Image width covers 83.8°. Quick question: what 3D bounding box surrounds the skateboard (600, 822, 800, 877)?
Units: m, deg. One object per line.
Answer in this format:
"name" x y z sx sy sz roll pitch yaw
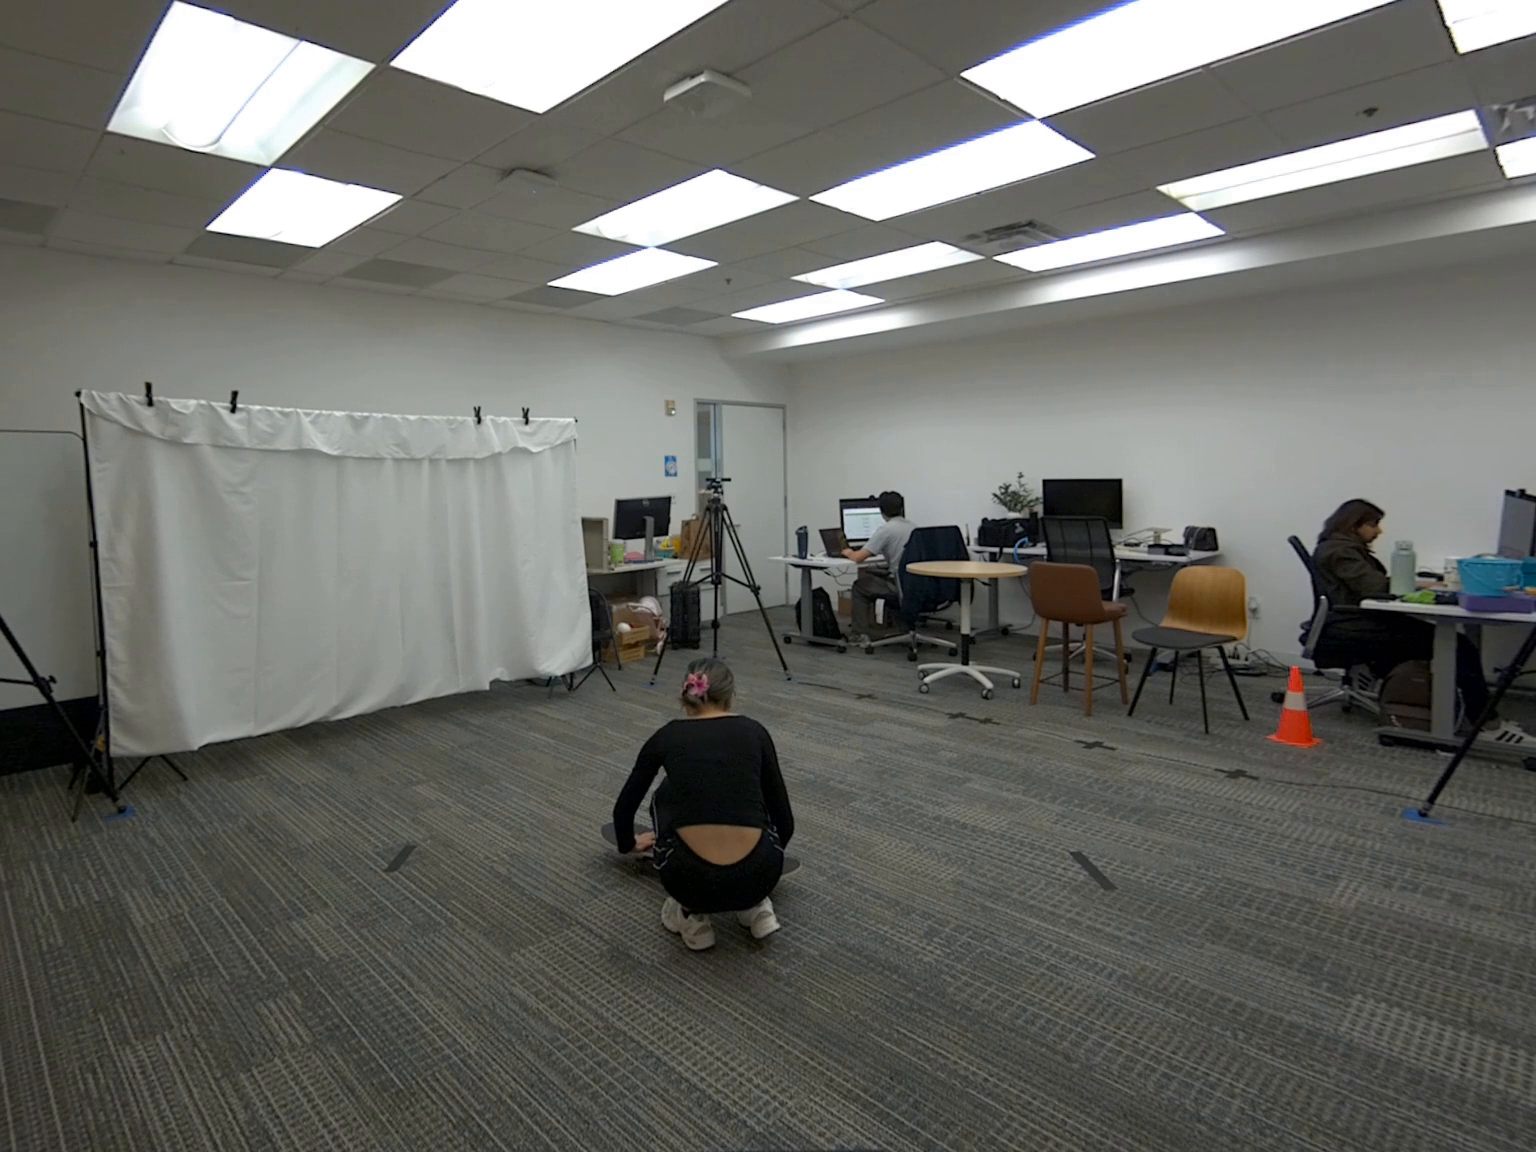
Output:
"skateboard" -0.250 0.995 3.014 0.804 0.110 0.189 2 6 26
